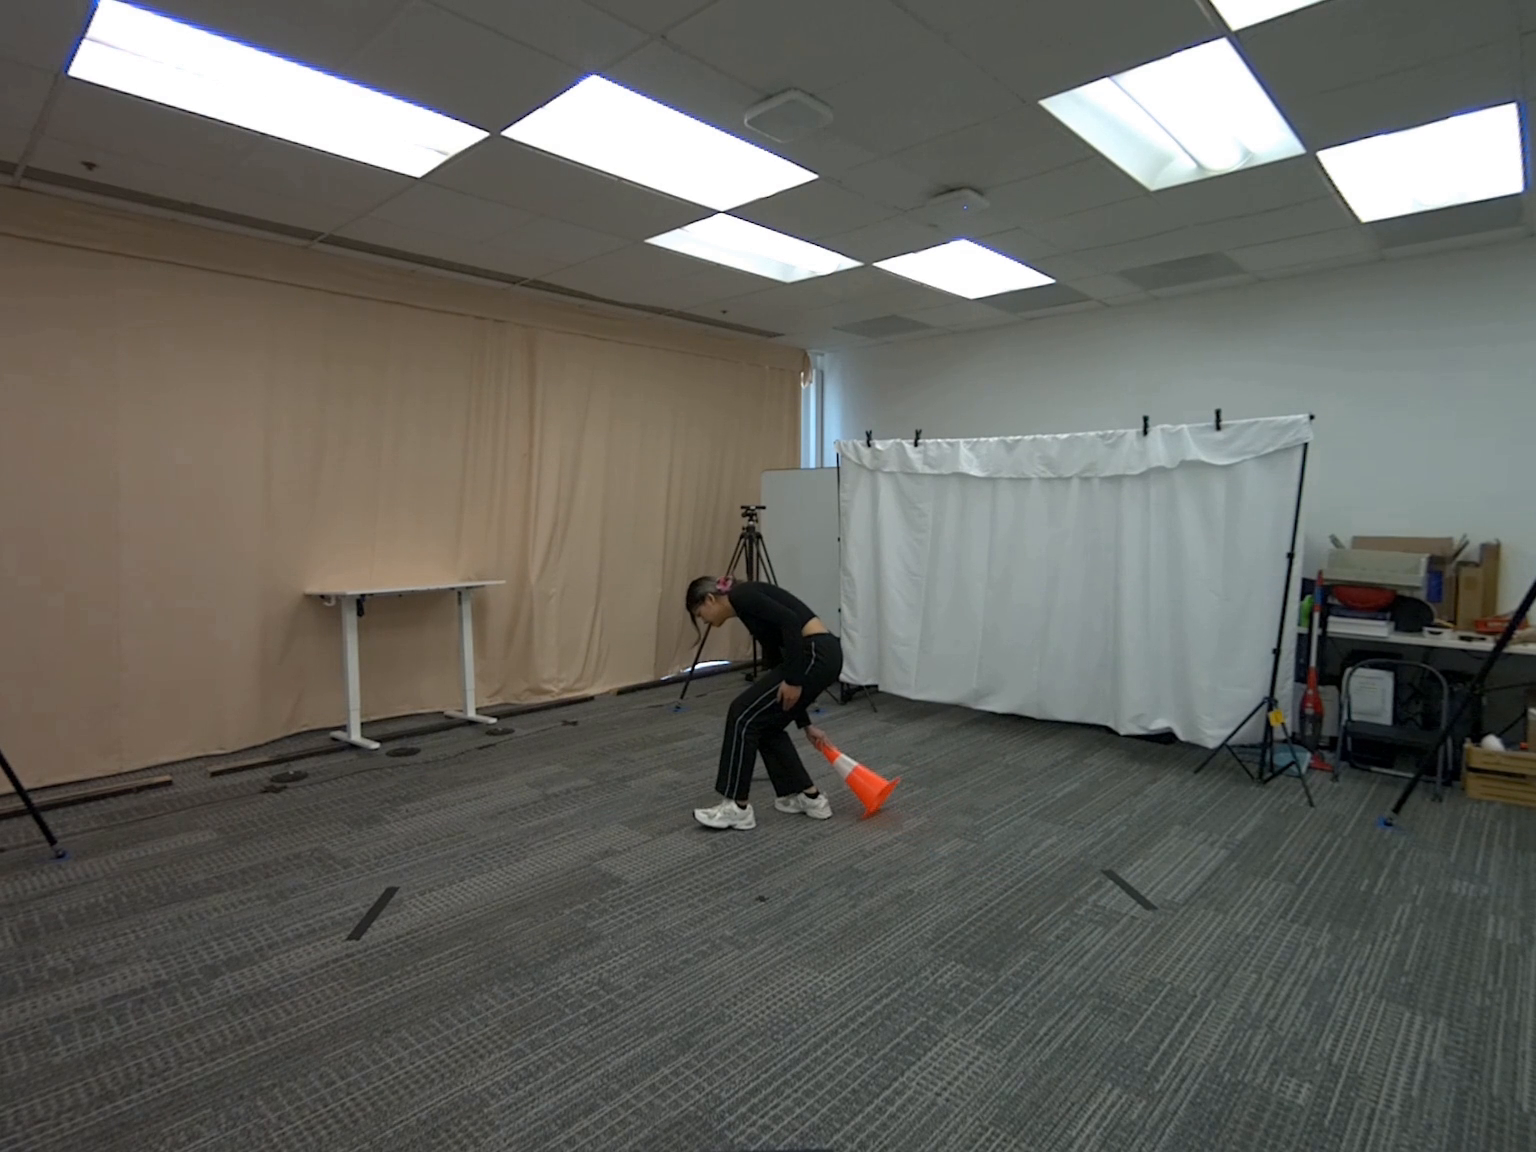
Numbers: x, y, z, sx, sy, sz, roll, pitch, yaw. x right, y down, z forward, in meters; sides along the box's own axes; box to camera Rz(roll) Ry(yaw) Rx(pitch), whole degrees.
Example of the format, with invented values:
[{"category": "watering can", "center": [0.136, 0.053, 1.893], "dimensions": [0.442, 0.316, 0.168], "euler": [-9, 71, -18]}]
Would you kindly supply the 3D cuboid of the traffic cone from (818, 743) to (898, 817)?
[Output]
[{"category": "traffic cone", "center": [0.376, 0.892, 3.868], "dimensions": [0.395, 0.203, 0.199], "euler": [39, 29, 27]}]
